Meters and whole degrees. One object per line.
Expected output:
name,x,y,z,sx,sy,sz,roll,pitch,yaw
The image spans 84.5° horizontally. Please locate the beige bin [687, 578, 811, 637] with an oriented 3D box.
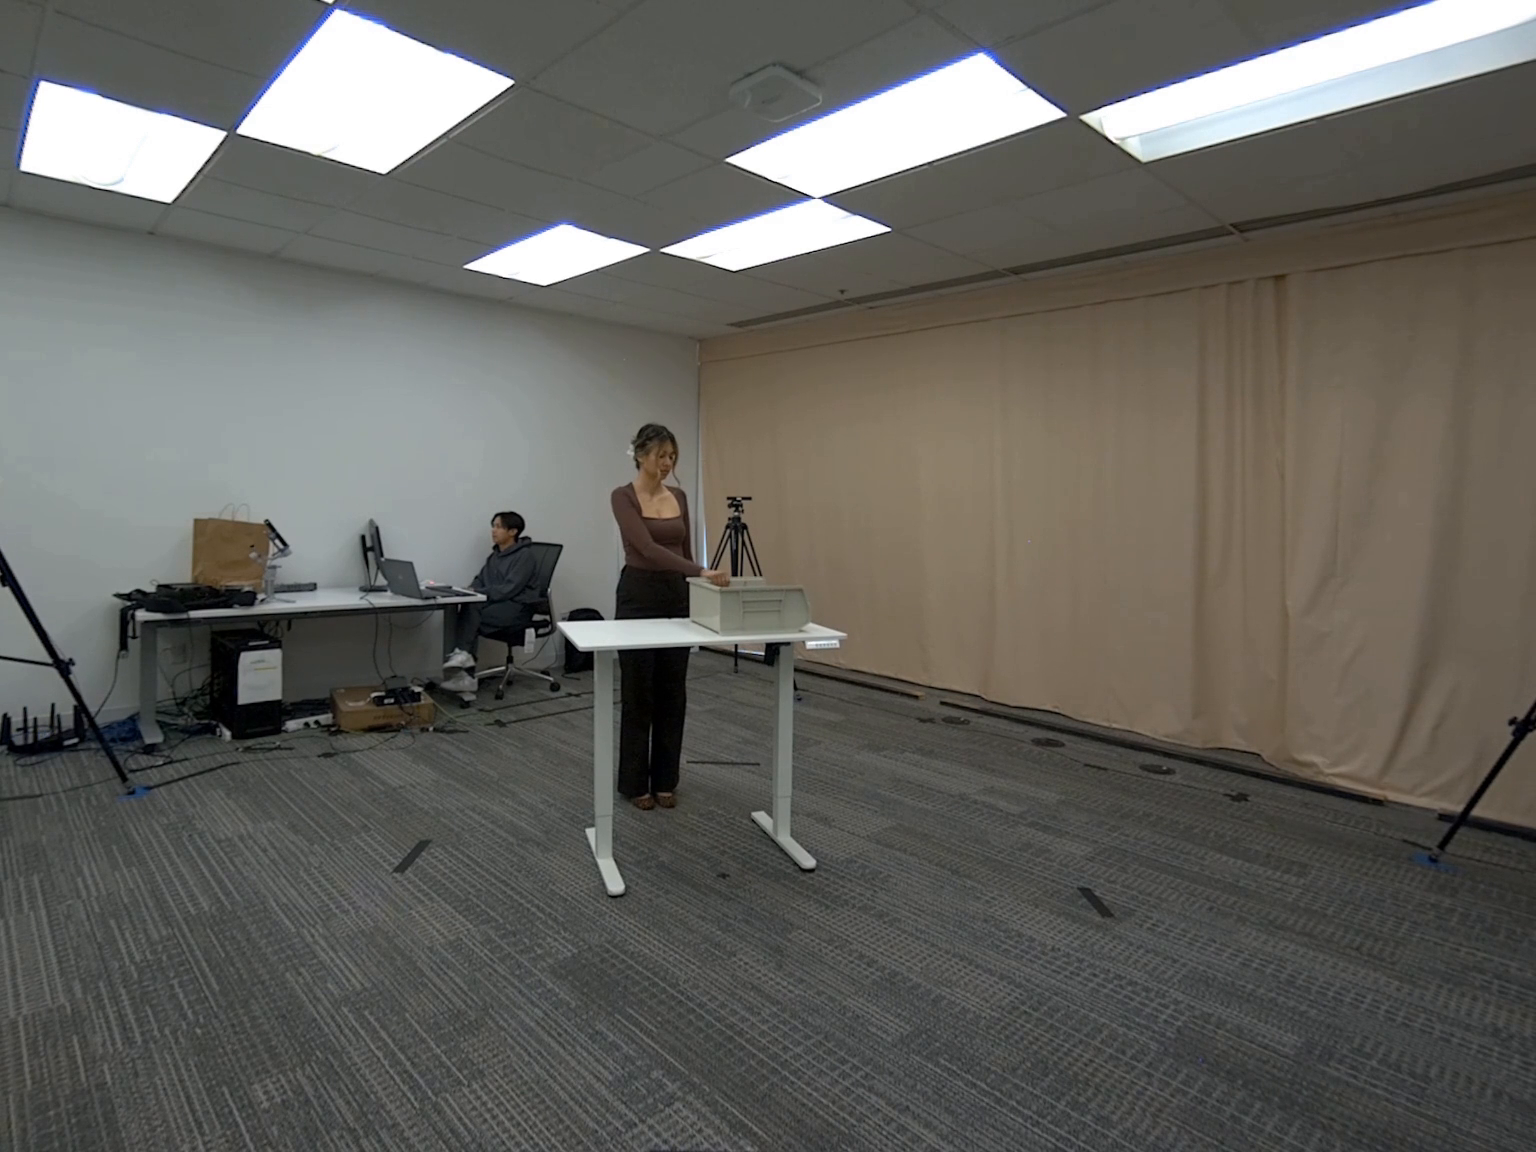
beige bin,-0.090,0.113,3.332,0.372,0.188,0.430,-2,6,-21
